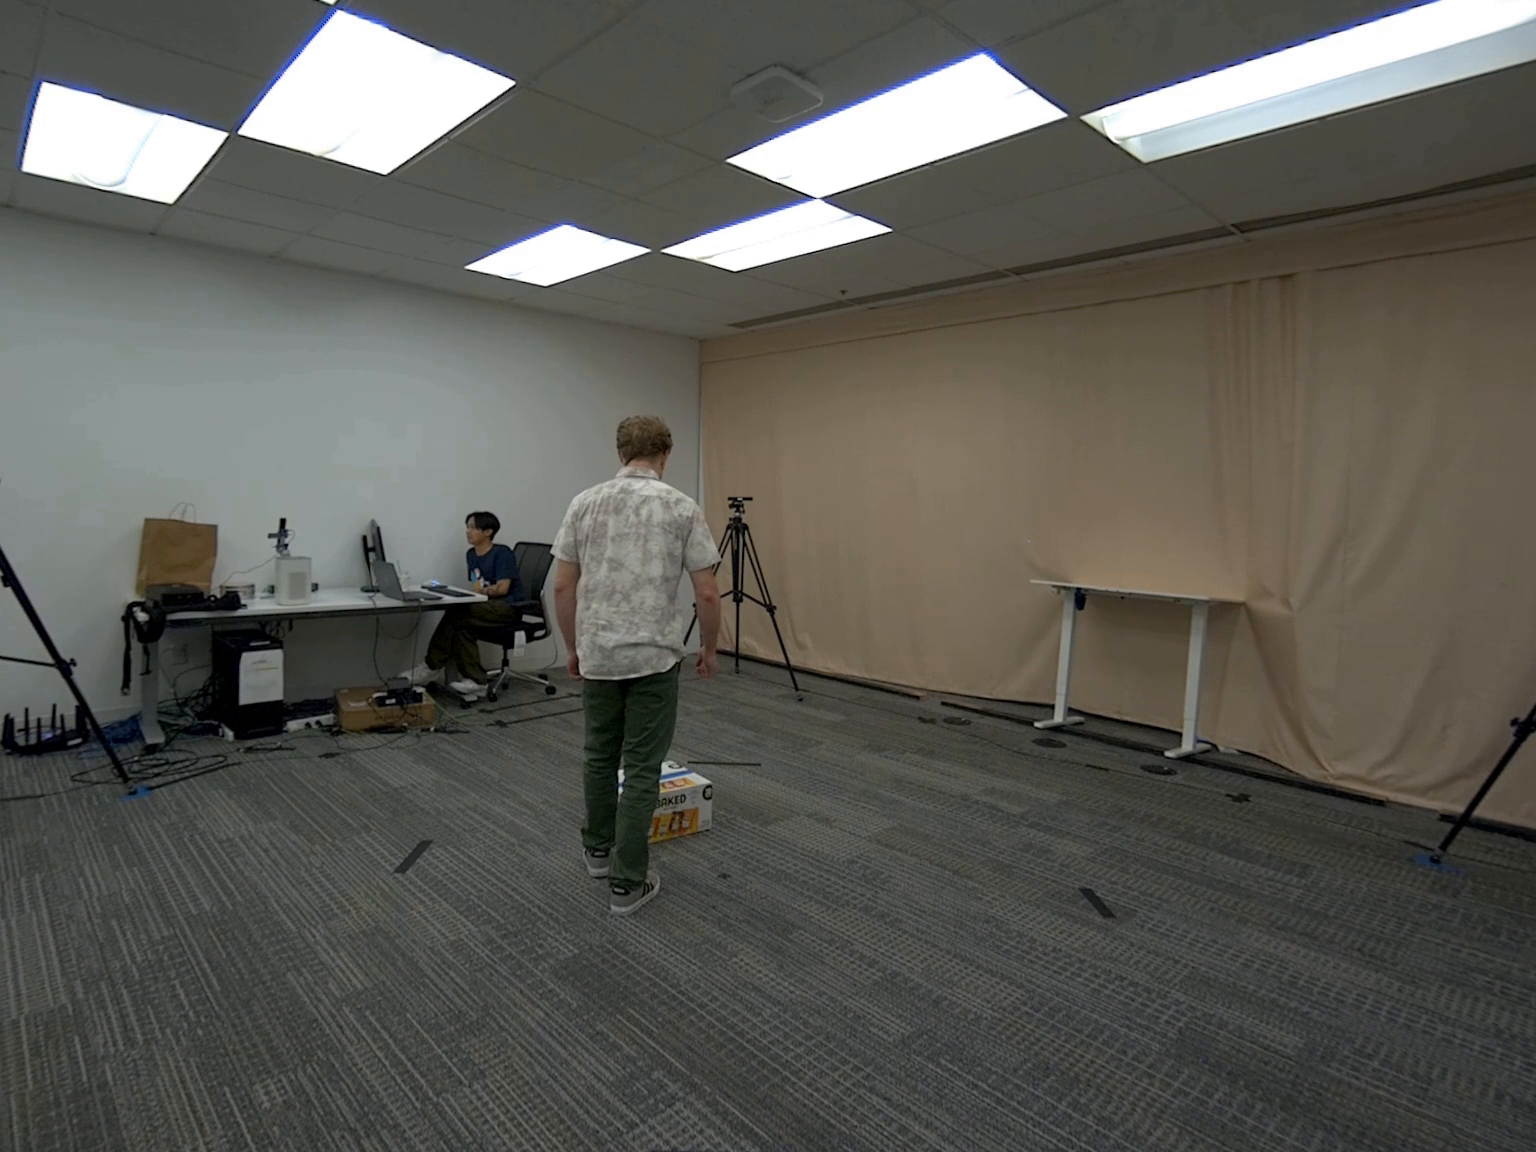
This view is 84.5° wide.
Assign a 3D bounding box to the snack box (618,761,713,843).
[{"bbox_3d":[-0.506,0.959,3.559,0.396,0.205,0.349,-2,6,-36],"label":"snack box"}]
